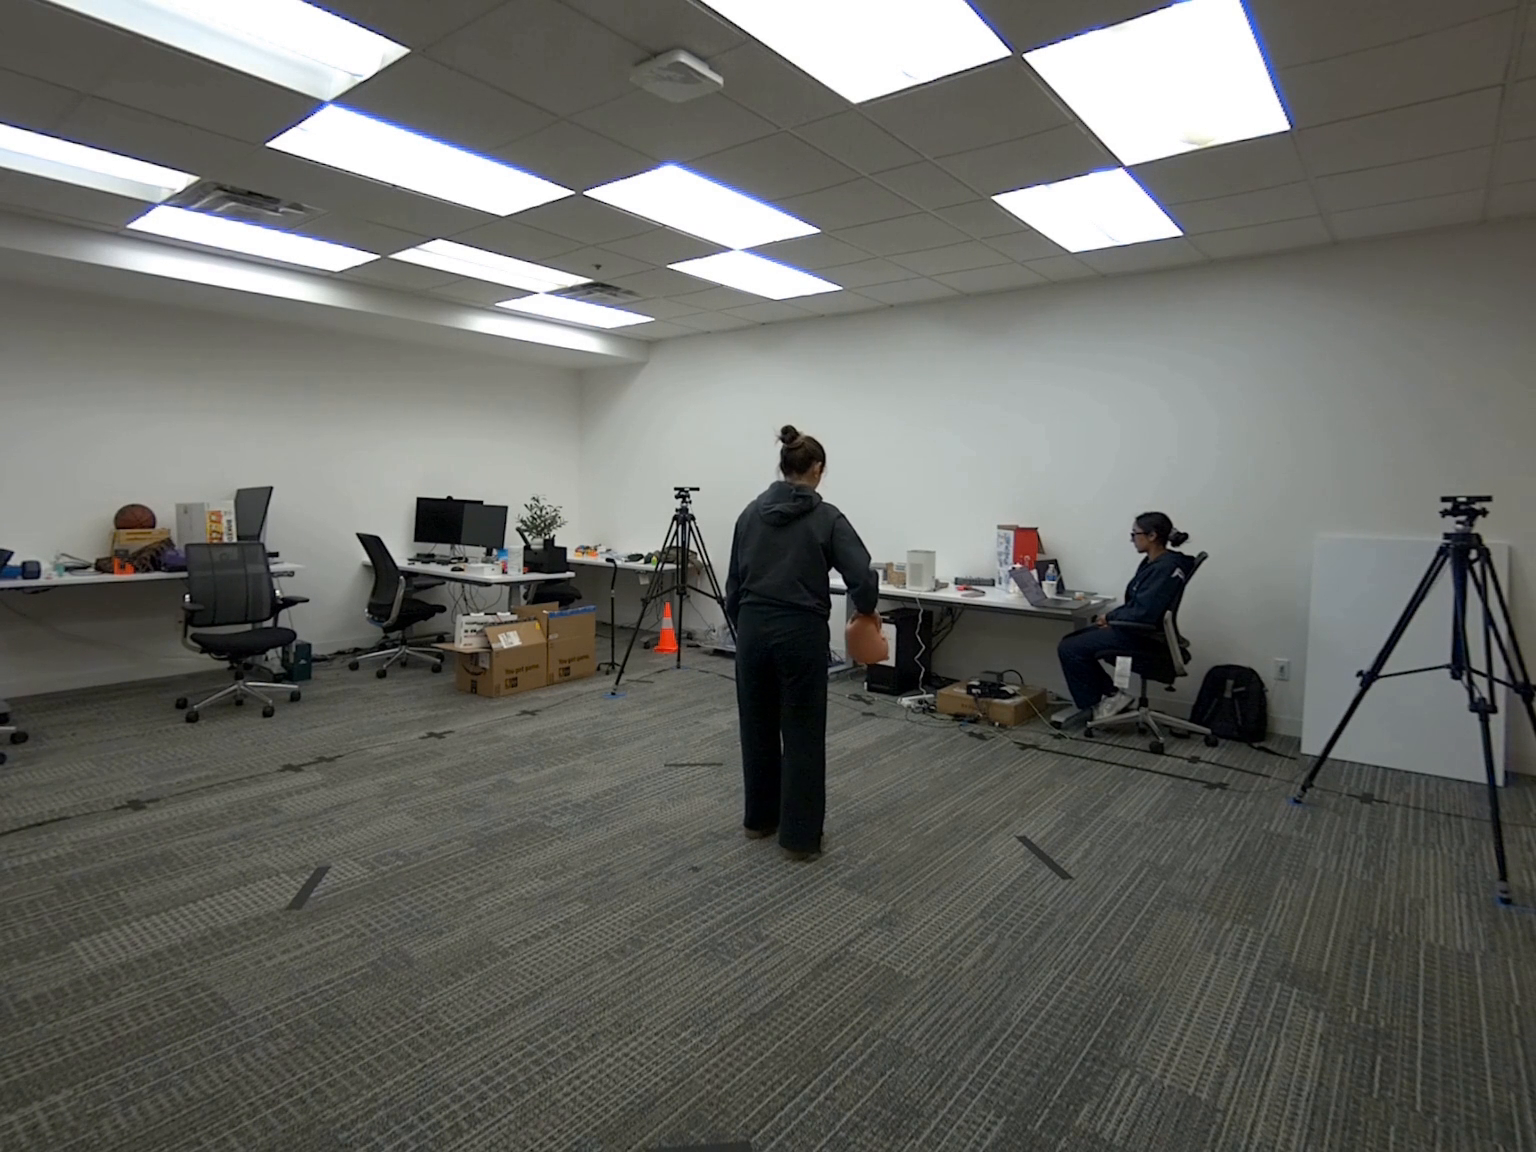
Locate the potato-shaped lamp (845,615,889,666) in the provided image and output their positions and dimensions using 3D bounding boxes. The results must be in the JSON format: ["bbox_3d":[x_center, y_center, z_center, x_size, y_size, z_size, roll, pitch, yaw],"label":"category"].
[{"bbox_3d":[0.382,0.233,3.394,0.170,0.195,0.169,-15,15,-11],"label":"potato-shaped lamp"}]
